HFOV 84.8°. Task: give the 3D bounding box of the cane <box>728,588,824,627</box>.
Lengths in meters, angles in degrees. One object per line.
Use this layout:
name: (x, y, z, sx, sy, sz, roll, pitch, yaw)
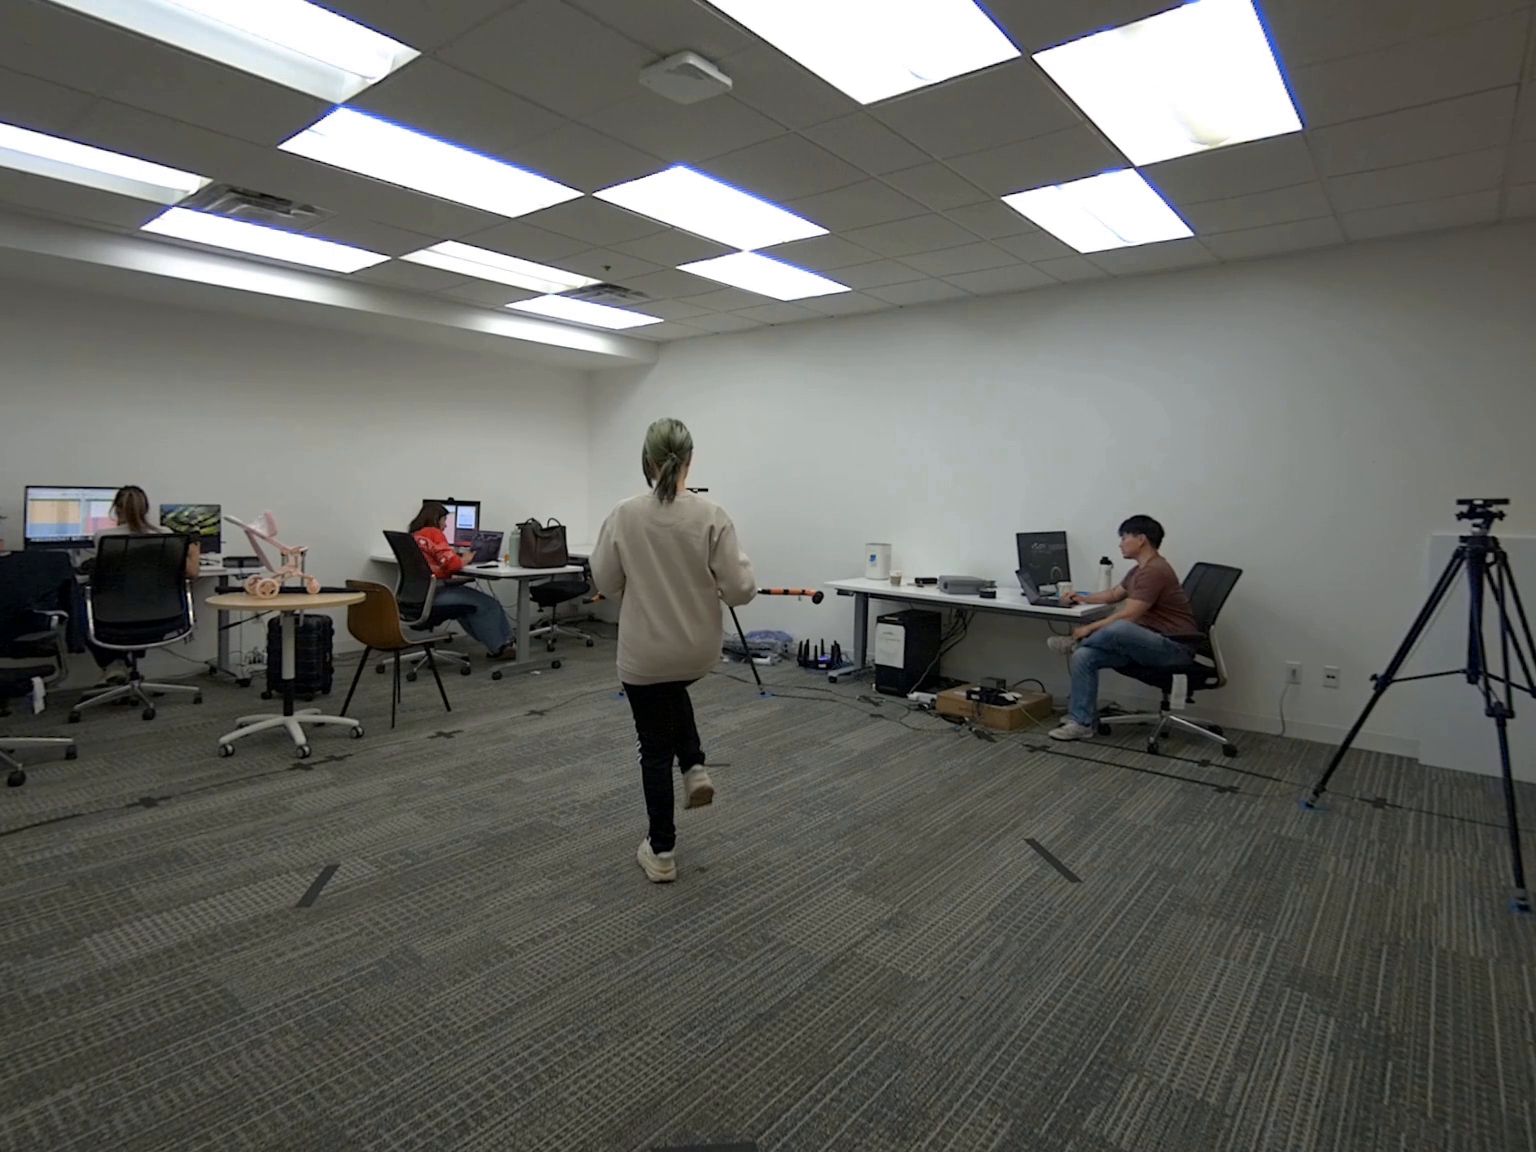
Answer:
cane: (-0.248, 0.051, 3.288, 0.918, 0.151, 0.204, 3, 4, 10)
